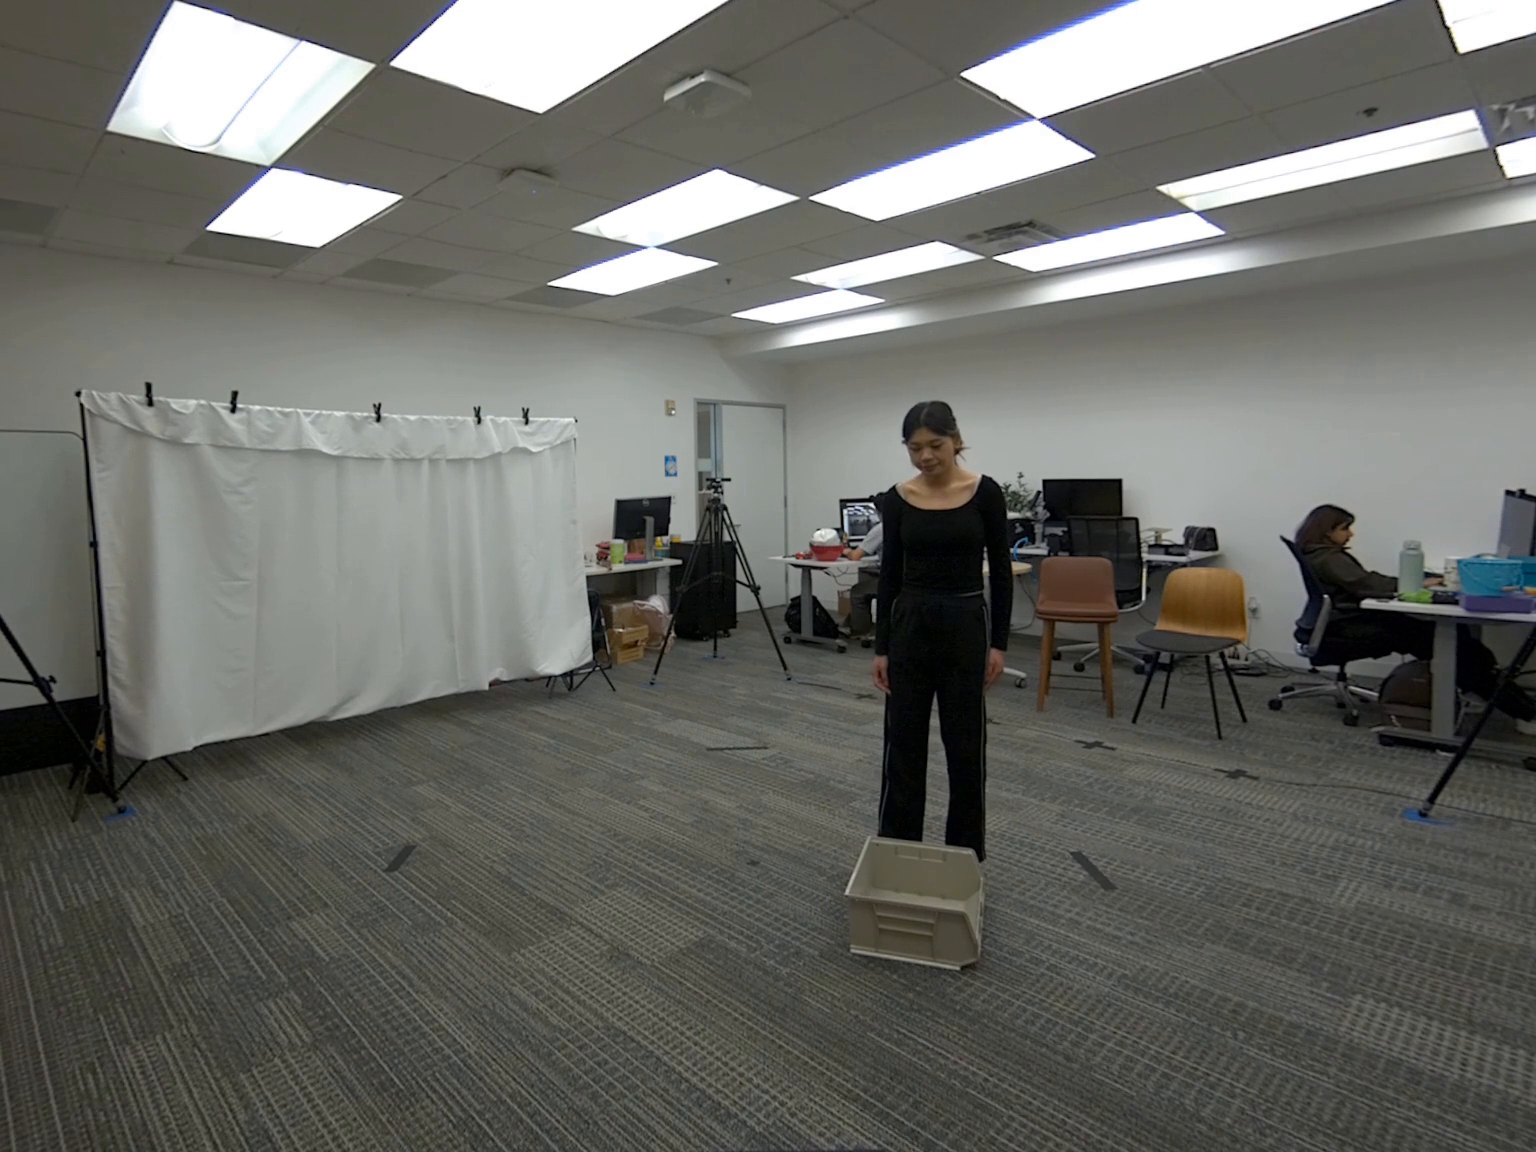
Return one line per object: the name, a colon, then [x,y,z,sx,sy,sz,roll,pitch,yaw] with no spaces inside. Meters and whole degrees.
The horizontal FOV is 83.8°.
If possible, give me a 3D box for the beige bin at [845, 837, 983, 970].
beige bin: [0.468,0.994,2.644,0.384,0.188,0.417,0,7,18]
